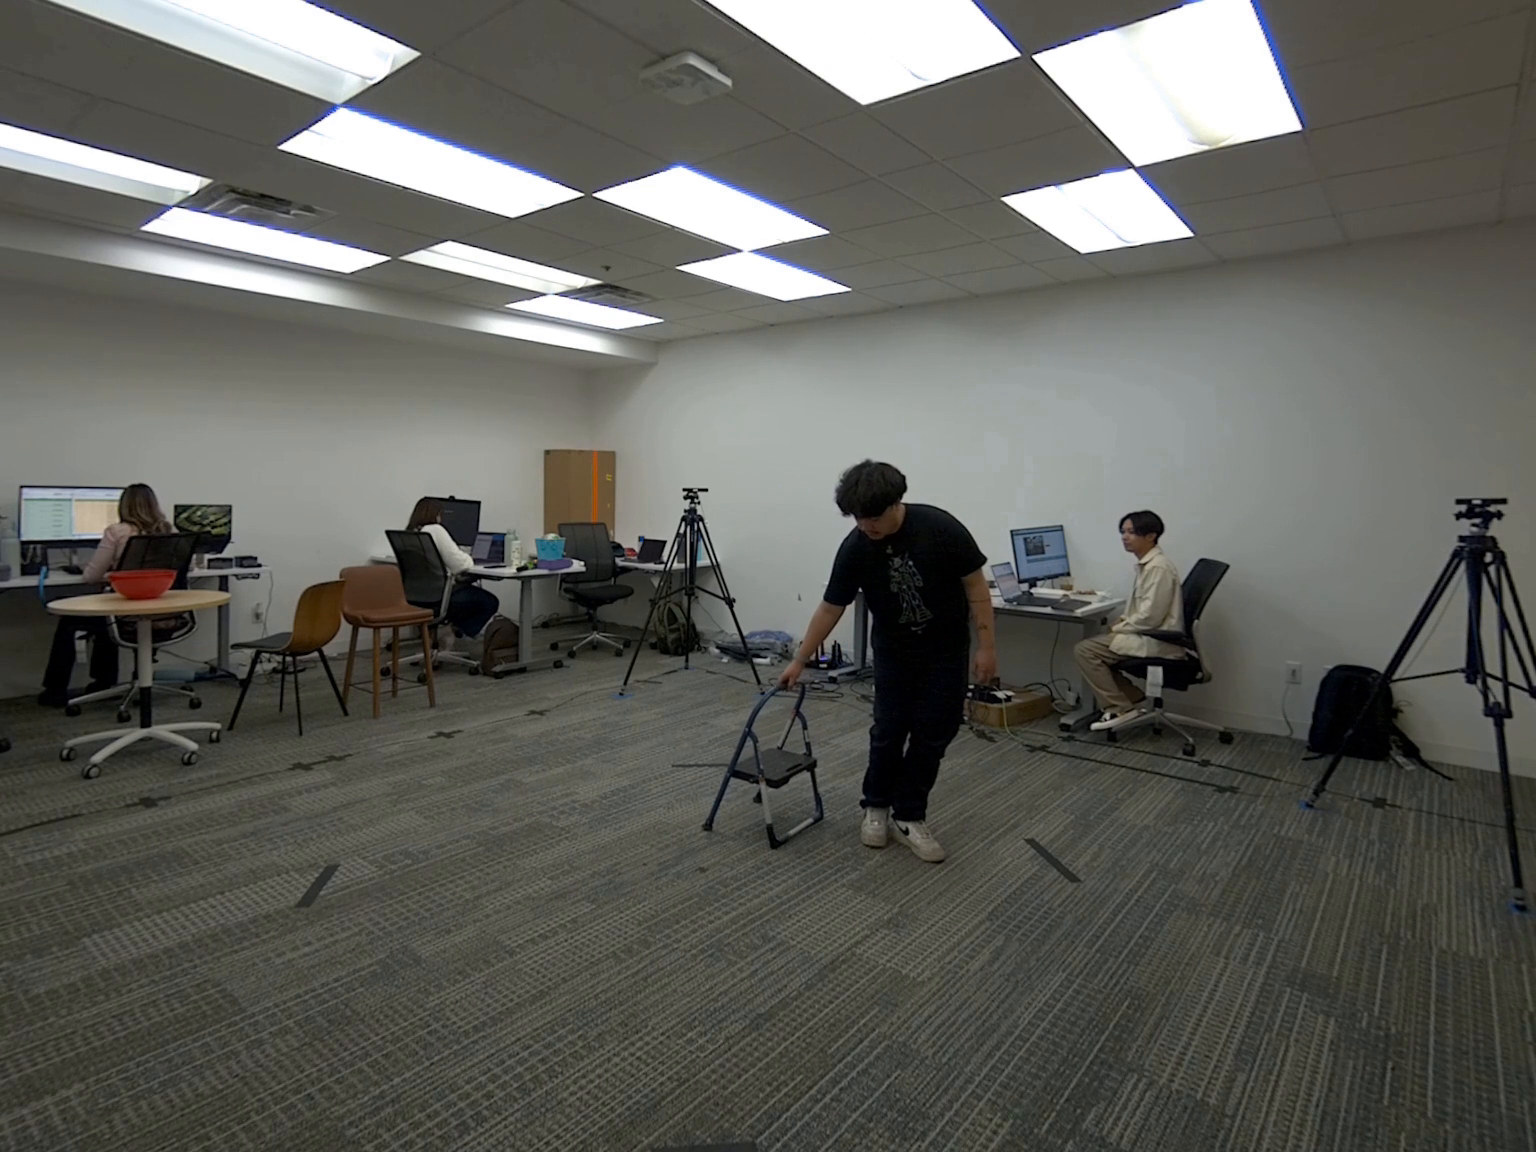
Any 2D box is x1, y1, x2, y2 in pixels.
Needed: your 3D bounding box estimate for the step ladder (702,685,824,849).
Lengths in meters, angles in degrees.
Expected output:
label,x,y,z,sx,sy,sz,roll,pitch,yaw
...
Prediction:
label,x,y,z,sx,sy,sz,roll,pitch,yaw
step ladder,-0.013,0.724,3.535,0.360,0.604,0.419,5,5,32
